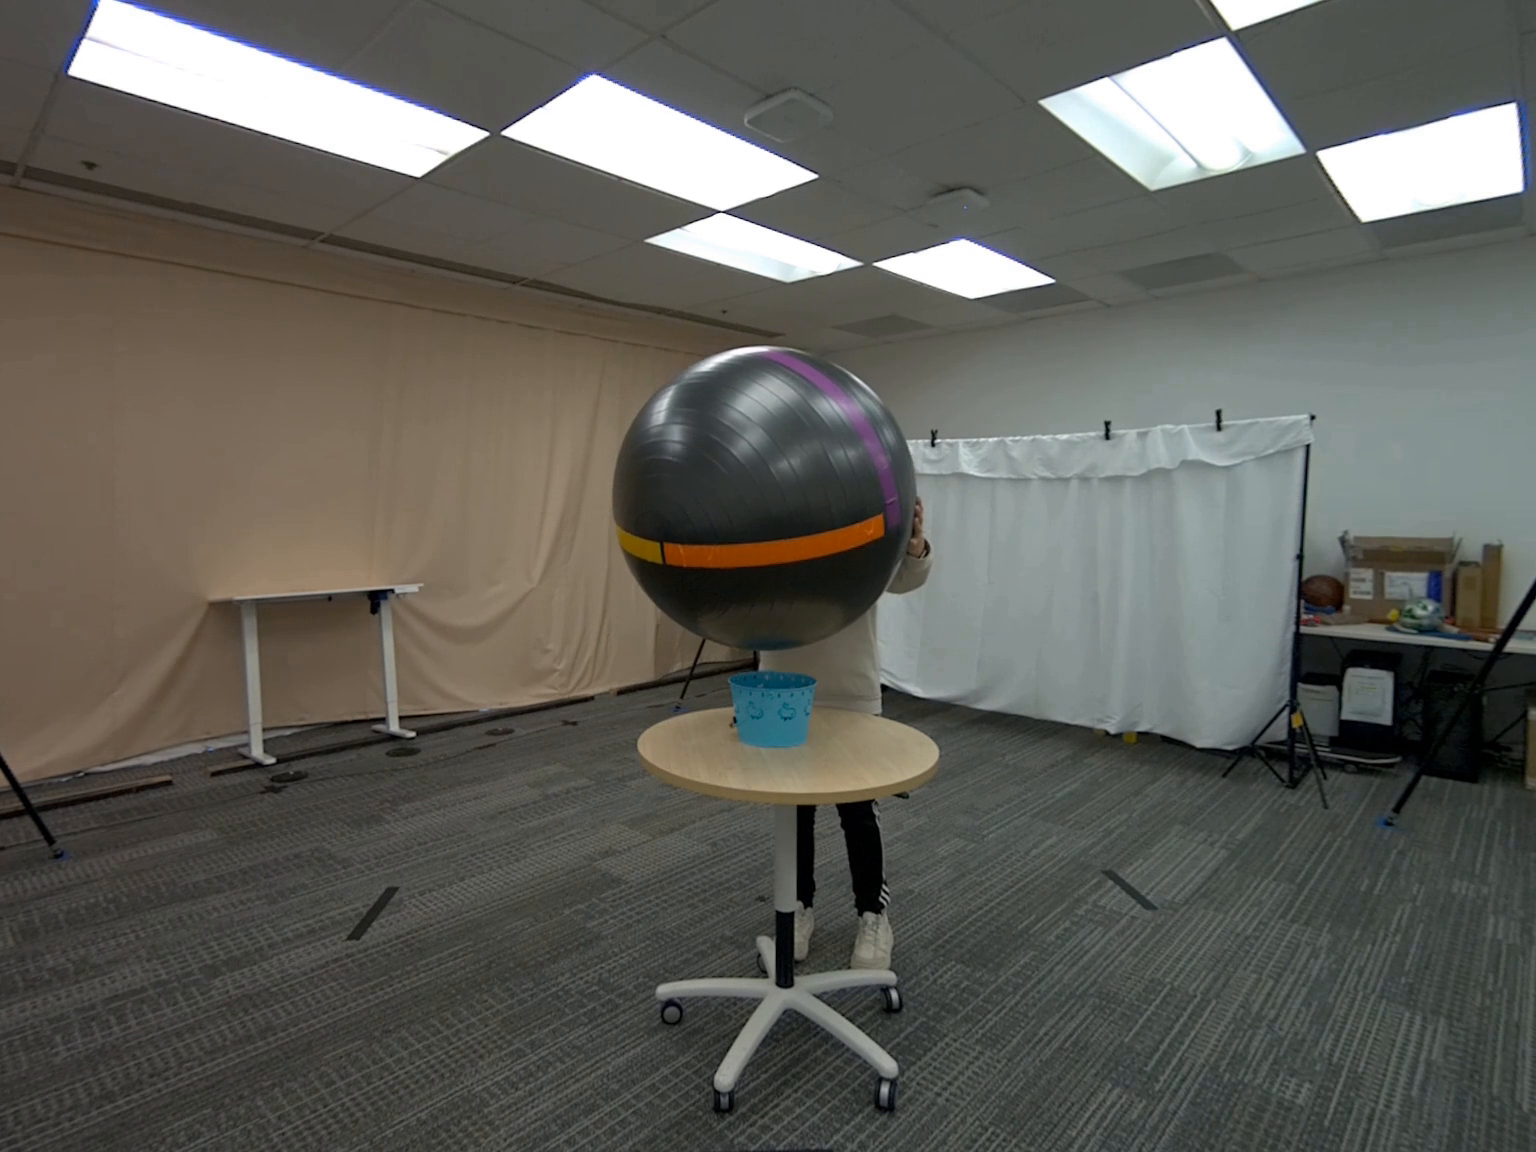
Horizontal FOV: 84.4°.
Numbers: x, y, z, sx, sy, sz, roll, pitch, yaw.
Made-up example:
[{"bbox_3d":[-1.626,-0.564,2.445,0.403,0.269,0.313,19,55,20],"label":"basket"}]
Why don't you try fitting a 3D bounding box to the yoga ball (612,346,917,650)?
[{"bbox_3d":[-0.016,-0.187,2.112,0.757,0.756,0.760,0,4,-2],"label":"yoga ball"}]
